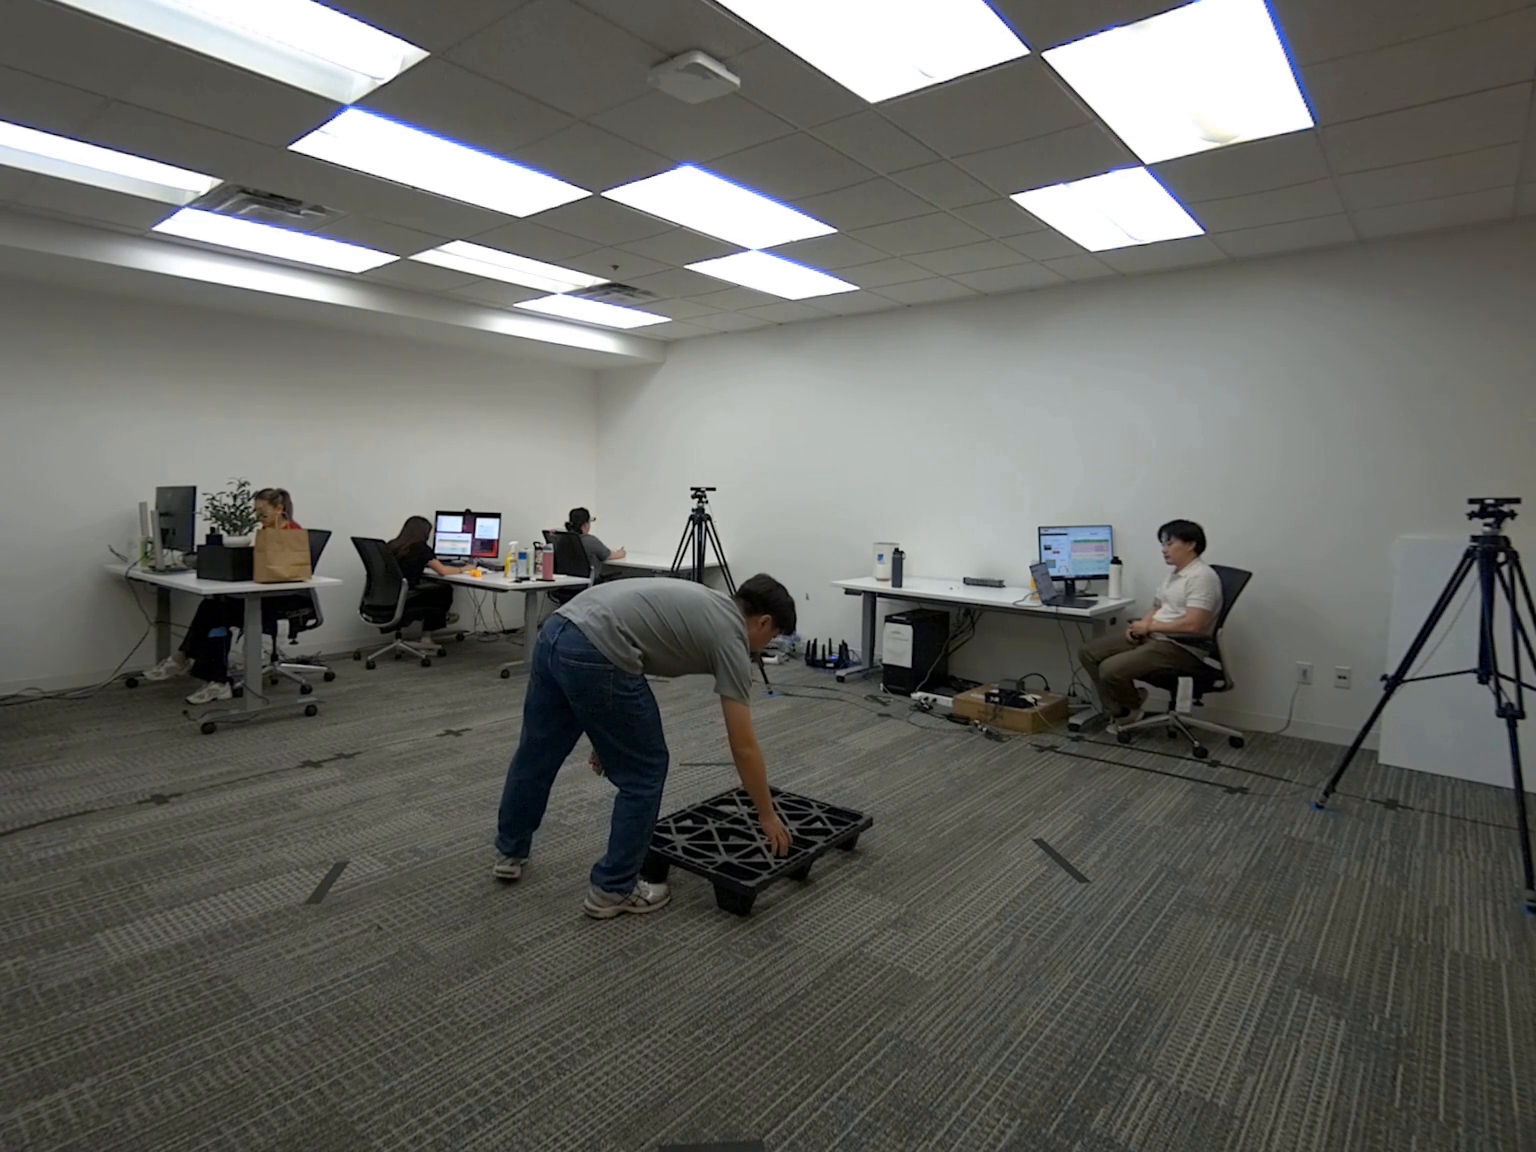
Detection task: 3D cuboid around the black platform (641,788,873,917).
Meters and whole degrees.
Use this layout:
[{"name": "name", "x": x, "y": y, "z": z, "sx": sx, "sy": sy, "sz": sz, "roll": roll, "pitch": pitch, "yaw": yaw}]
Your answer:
[{"name": "black platform", "x": -0.062, "y": 0.994, "z": 3.180, "sx": 0.625, "sy": 0.143, "sz": 0.782, "roll": 6, "pitch": 7, "yaw": 37}]
